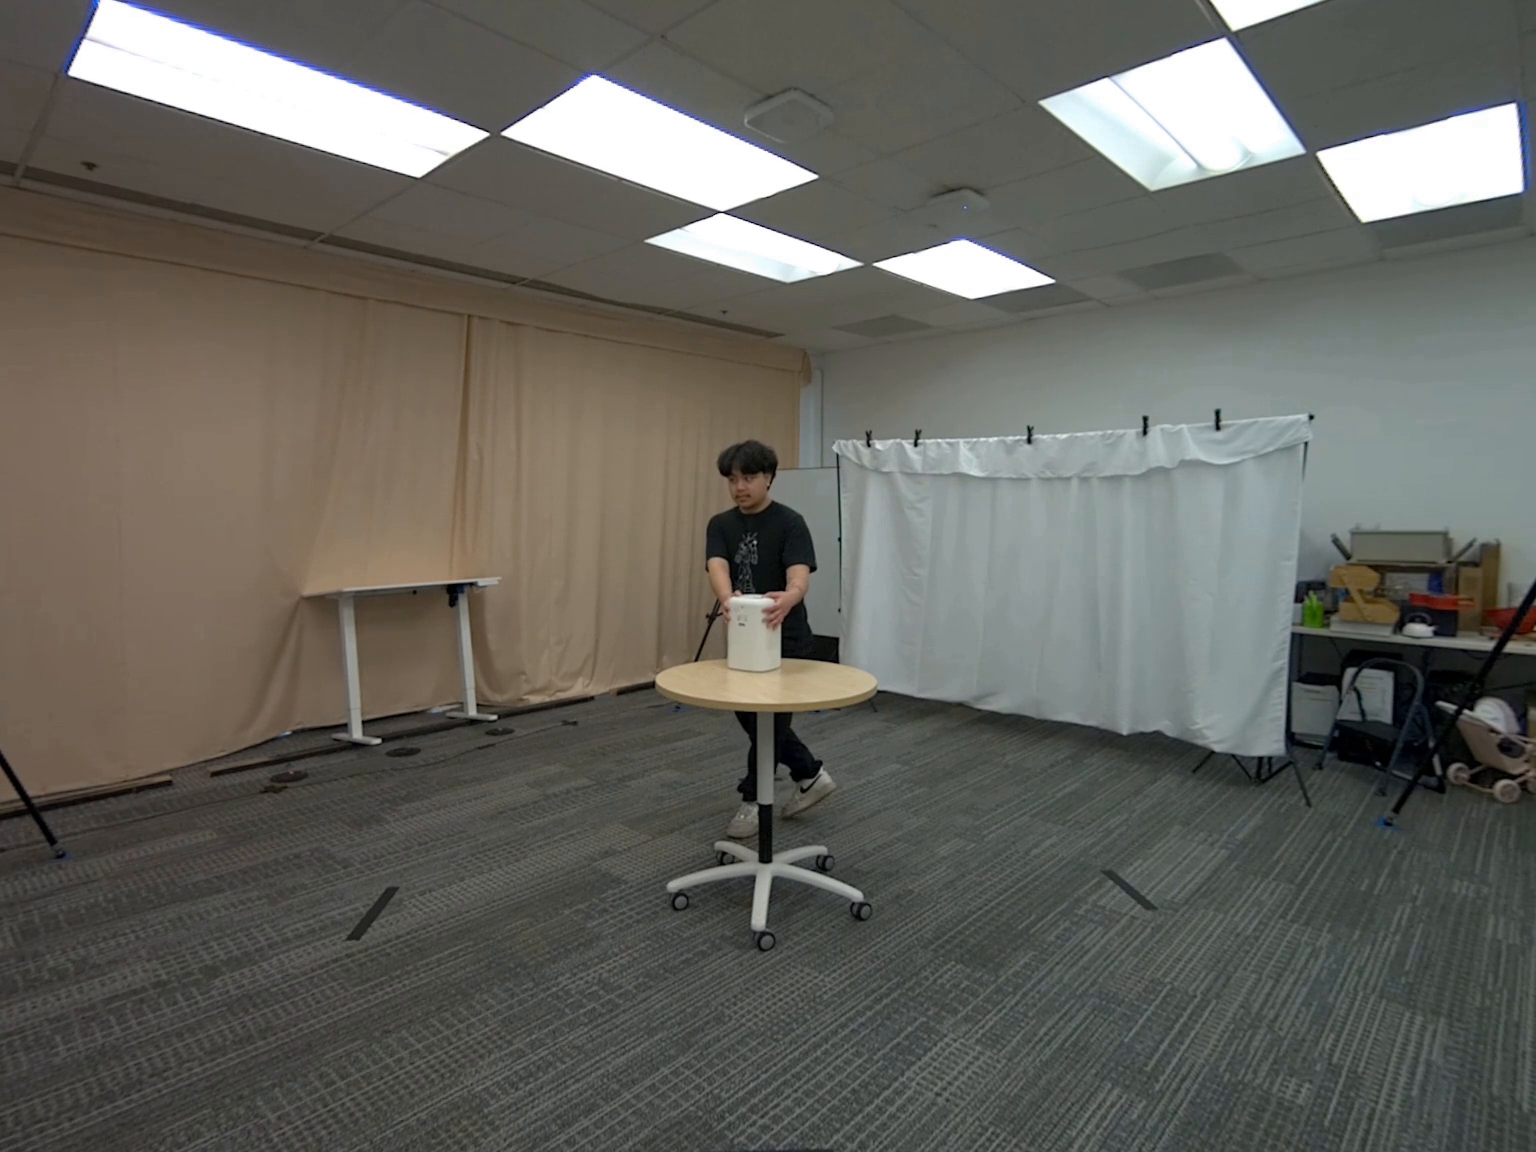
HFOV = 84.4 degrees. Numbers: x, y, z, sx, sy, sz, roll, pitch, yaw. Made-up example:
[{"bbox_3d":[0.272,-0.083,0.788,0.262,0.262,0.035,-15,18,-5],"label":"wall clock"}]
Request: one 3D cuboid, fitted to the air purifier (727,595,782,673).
[{"bbox_3d":[-0.048,0.207,3.114,0.176,0.265,0.167,1,4,30],"label":"air purifier"}]
